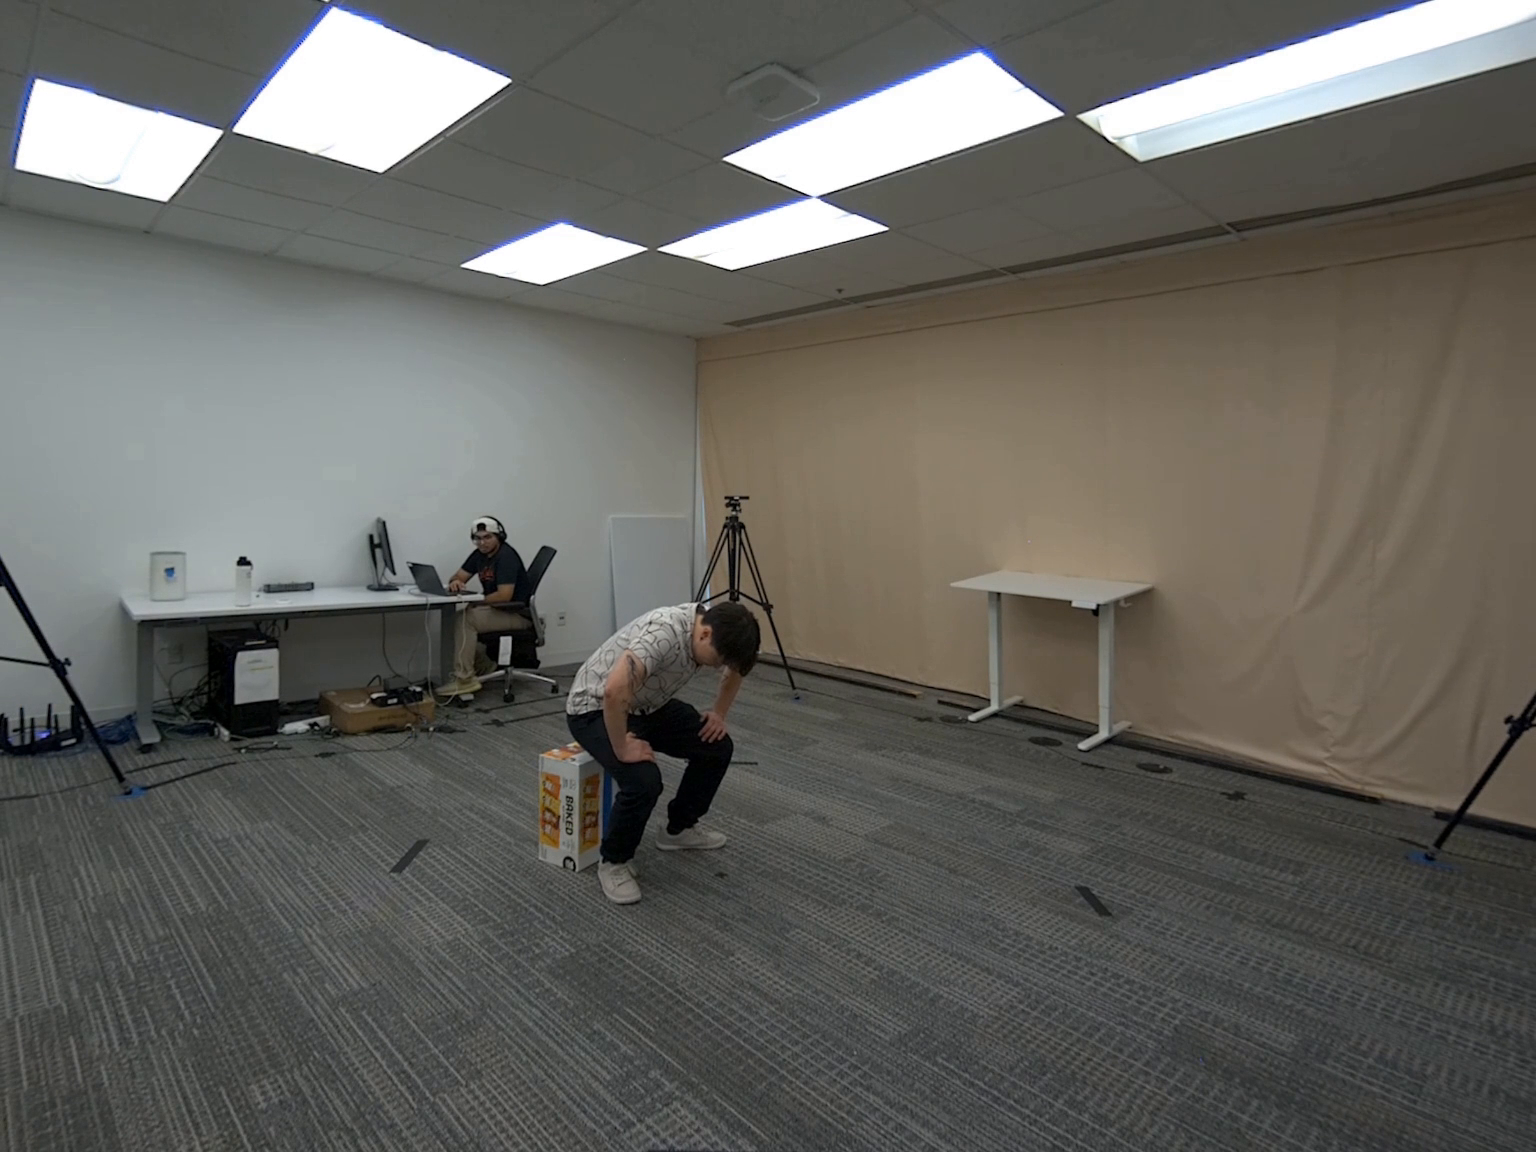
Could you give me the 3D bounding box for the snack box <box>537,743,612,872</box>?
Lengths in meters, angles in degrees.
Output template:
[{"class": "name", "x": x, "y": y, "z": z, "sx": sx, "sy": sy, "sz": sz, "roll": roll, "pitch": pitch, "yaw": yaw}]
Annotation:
[{"class": "snack box", "x": -0.708, "y": 0.872, "z": 3.275, "sx": 0.210, "sy": 0.404, "sz": 0.334, "roll": 4, "pitch": 5, "yaw": 29}]
